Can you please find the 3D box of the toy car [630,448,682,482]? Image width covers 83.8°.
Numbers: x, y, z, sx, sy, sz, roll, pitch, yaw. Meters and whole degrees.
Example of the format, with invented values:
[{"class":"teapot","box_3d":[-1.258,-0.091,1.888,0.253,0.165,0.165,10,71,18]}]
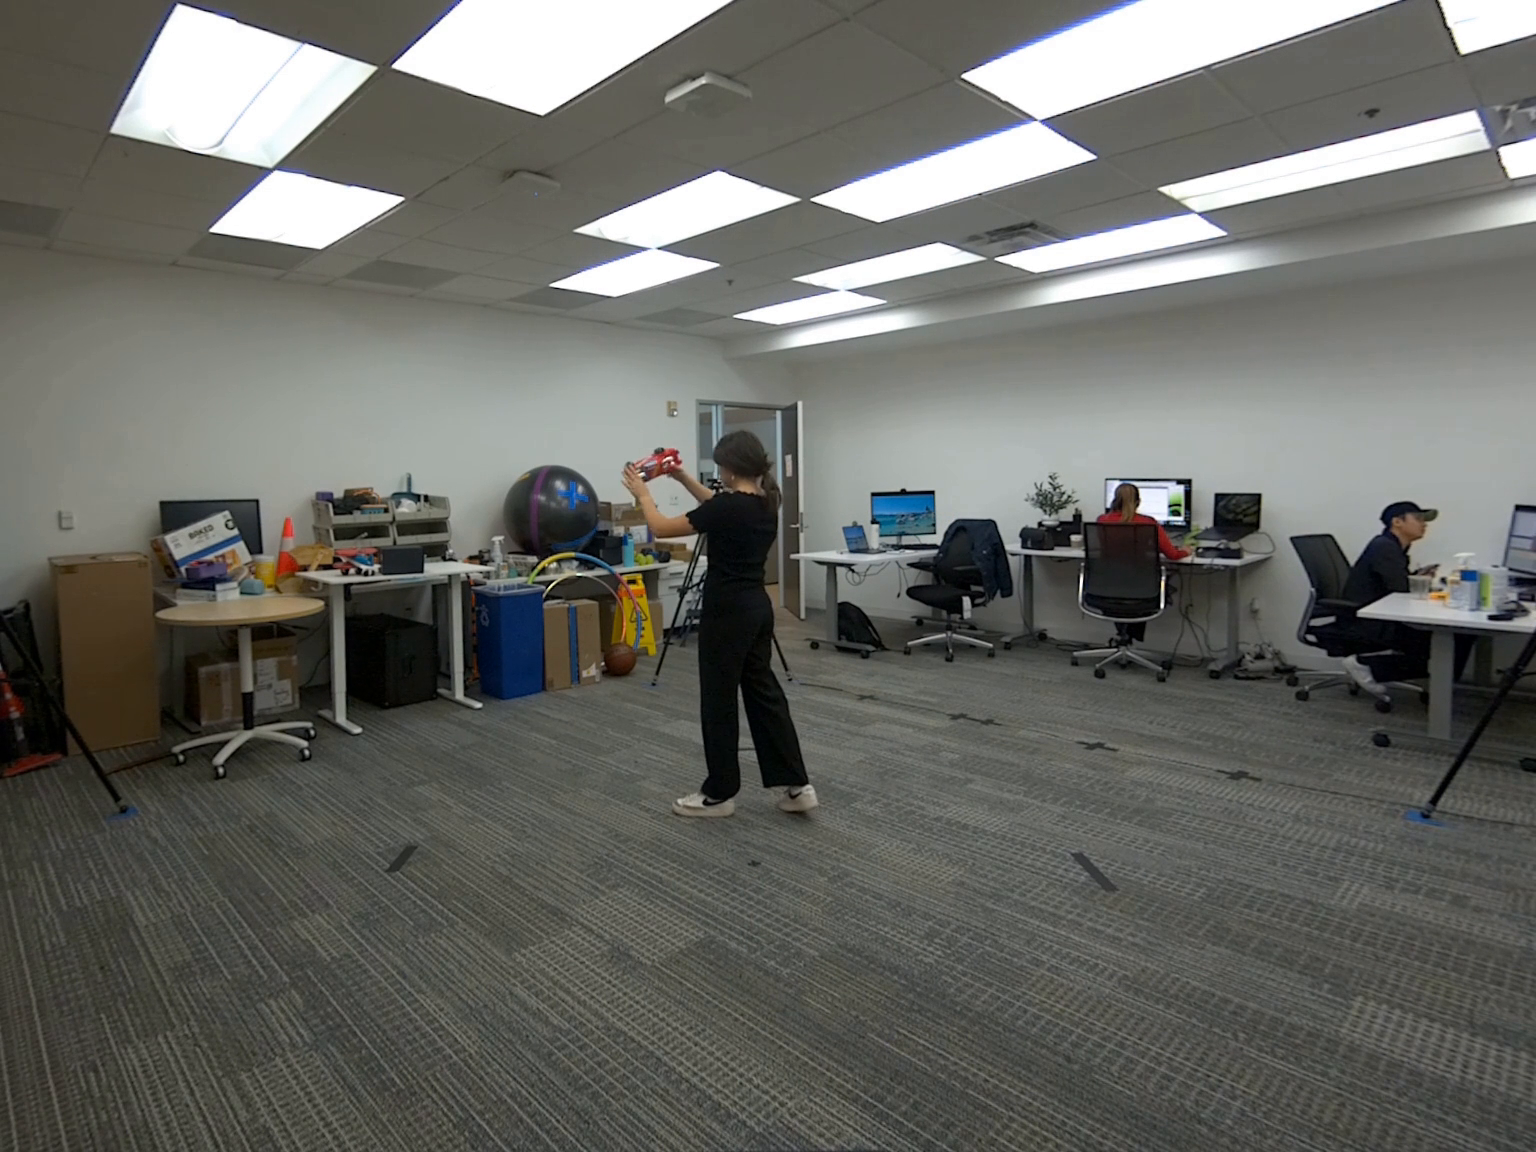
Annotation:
[{"class":"toy car","box_3d":[-0.500,-0.465,3.695,0.254,0.126,0.086,-21,38,-4]}]
